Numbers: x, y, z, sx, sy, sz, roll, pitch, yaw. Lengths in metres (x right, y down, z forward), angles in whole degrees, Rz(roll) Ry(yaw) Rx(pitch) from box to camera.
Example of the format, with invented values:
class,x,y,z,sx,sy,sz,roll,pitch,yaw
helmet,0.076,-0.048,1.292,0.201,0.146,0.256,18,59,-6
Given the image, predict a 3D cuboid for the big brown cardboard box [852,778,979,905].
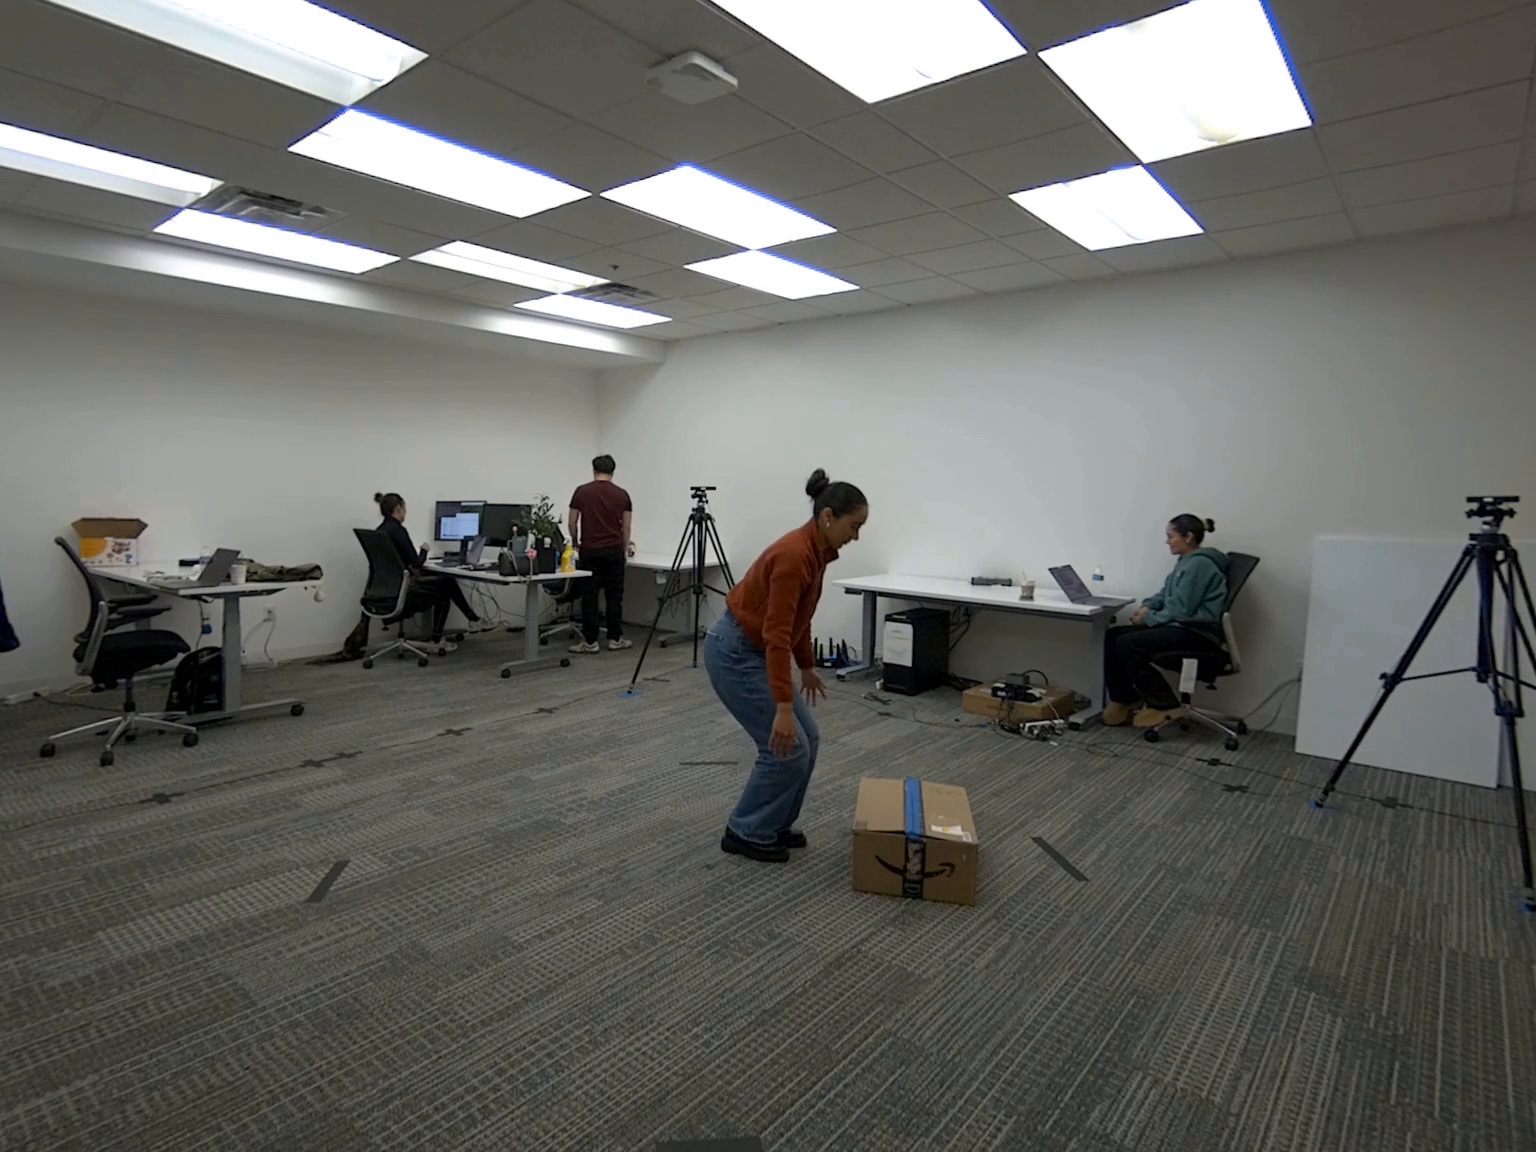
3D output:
class,x,y,z,sx,sy,sz,roll,pitch,yaw
big brown cardboard box,0.528,0.958,3.169,0.422,0.232,0.584,2,5,9
